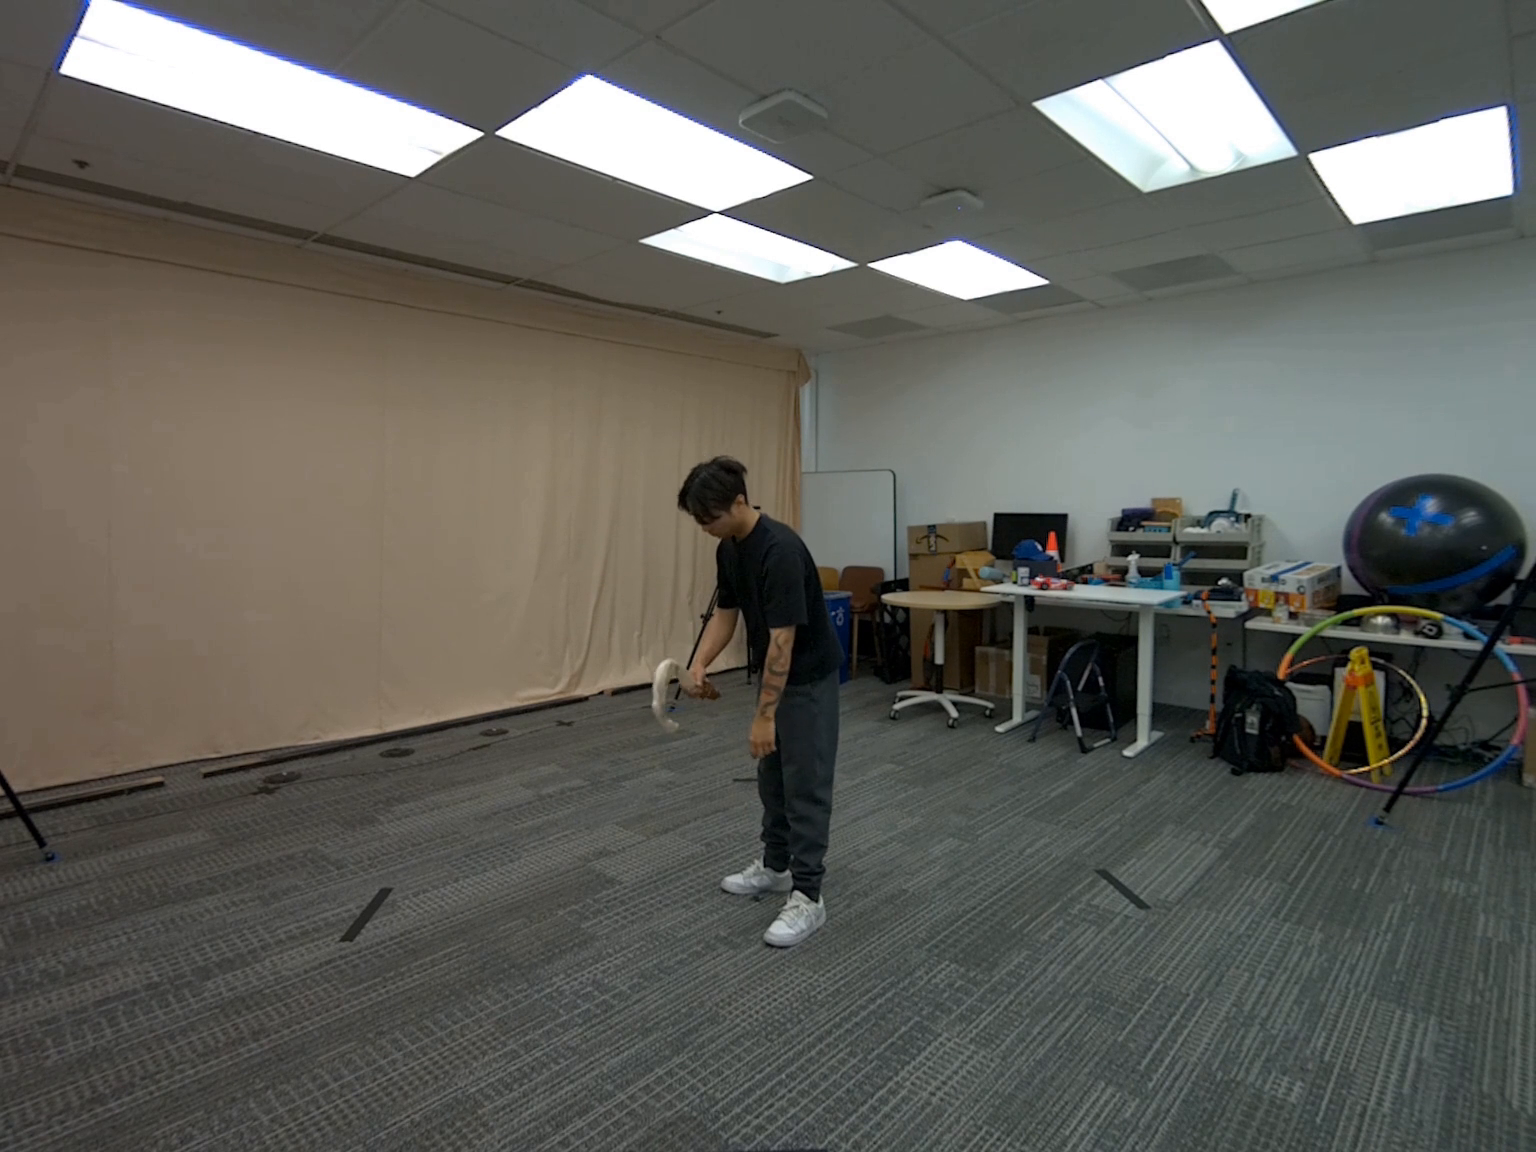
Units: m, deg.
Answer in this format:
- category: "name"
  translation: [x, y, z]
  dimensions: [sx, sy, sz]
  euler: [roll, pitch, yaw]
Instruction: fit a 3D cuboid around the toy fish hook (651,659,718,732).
- category: "toy fish hook"
  translation: [-0.265, 0.417, 2.762]
  dimensions: [0.049, 0.226, 0.491]
  euler: [2, -15, 22]
